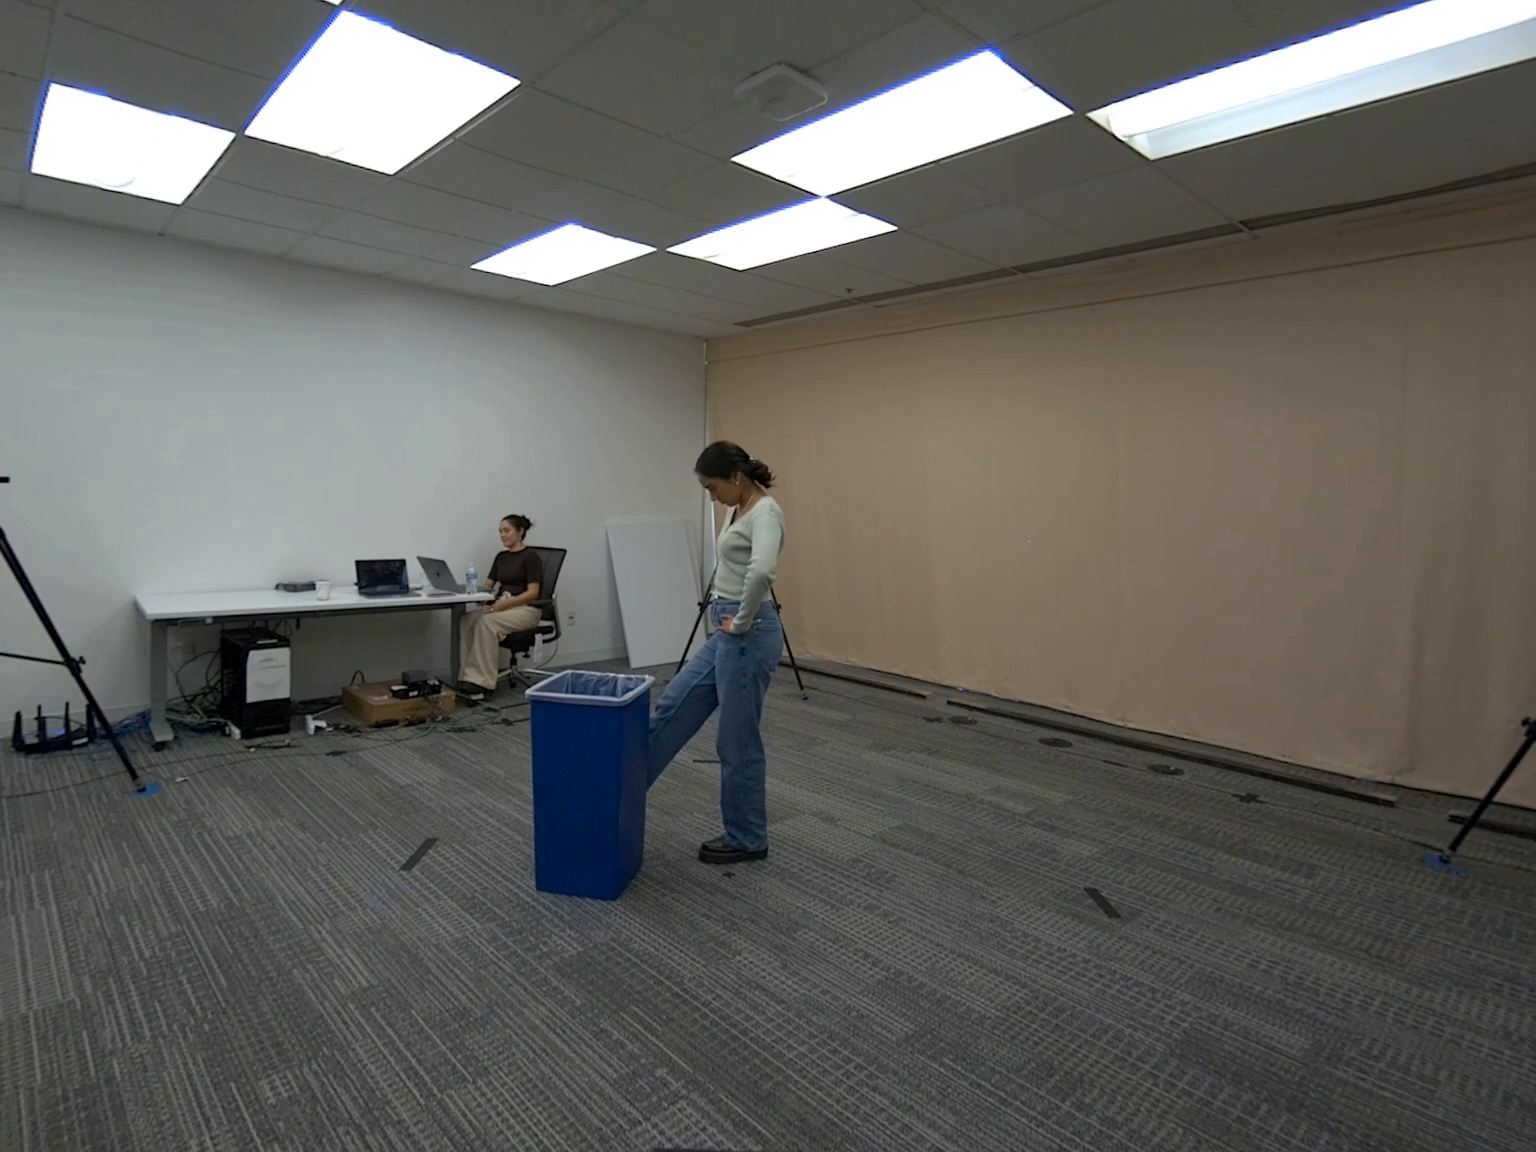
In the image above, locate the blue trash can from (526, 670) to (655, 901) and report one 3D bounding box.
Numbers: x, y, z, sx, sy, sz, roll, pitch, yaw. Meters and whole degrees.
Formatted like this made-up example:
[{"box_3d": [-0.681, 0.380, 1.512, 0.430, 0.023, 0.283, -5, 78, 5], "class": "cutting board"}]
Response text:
[{"box_3d": [-0.649, 0.743, 3.023, 0.378, 0.711, 0.375, 3, 4, 11], "class": "blue trash can"}]
